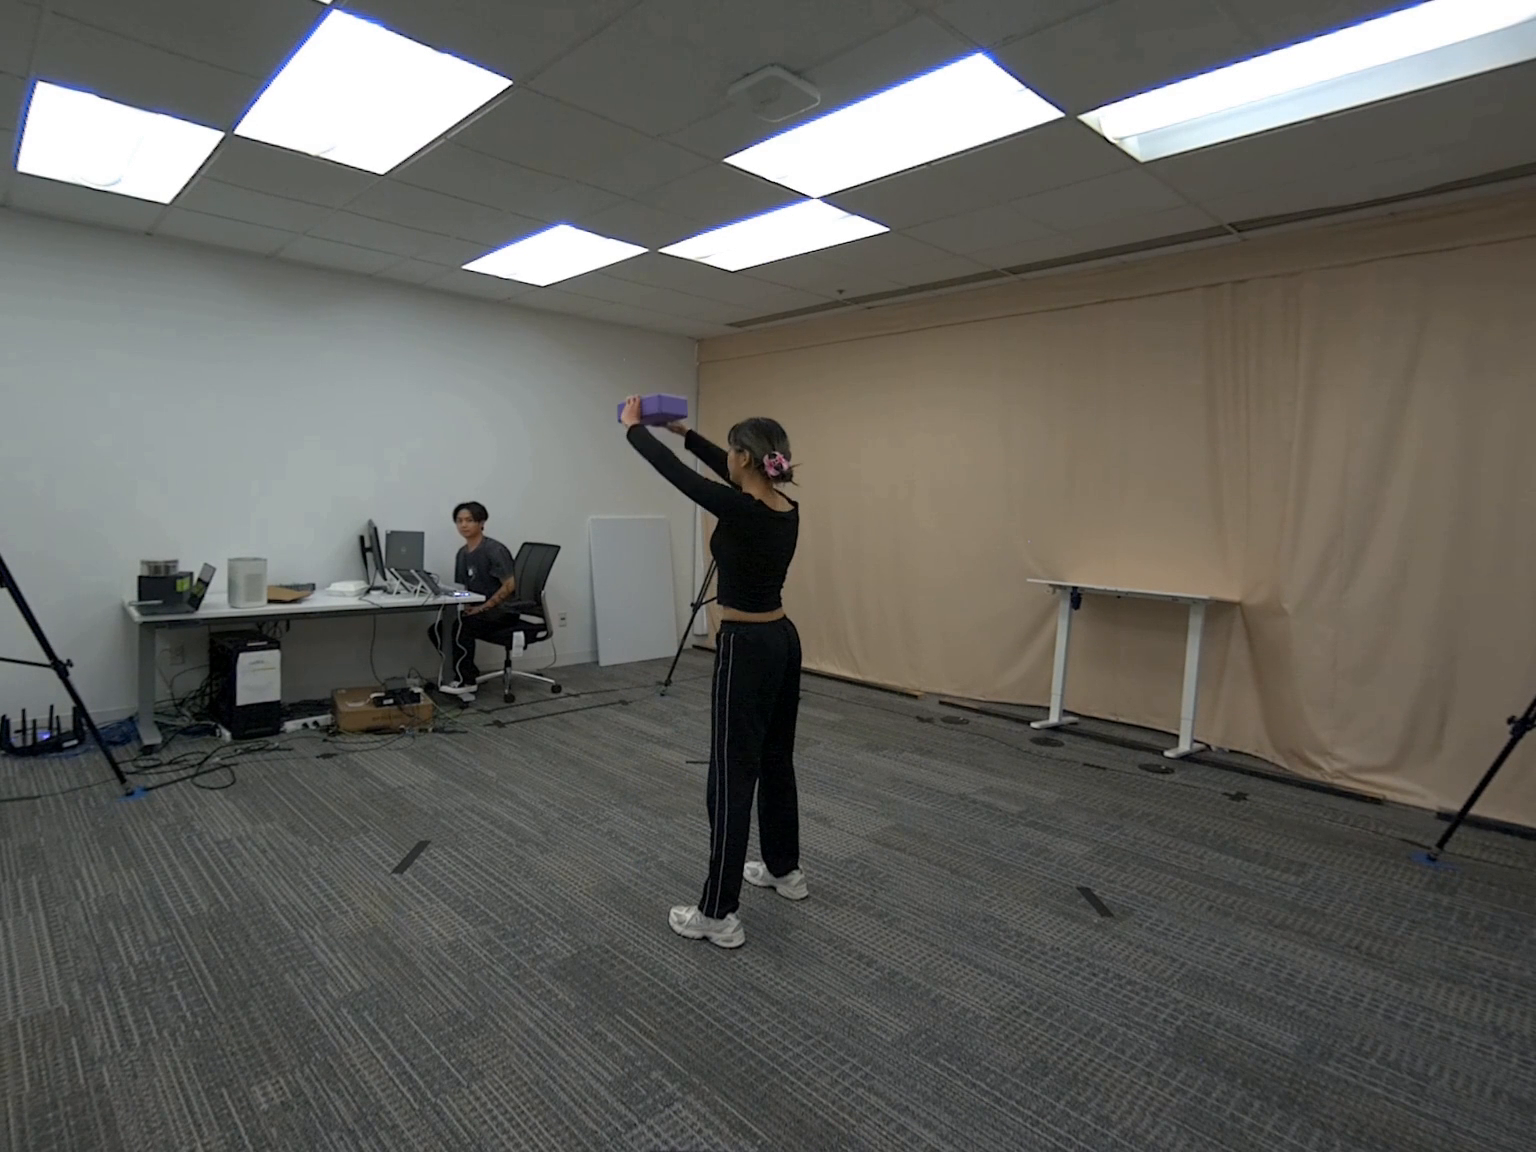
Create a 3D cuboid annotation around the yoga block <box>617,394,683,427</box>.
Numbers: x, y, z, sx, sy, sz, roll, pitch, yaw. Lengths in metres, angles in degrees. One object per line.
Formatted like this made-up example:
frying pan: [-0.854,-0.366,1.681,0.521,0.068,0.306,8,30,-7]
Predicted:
yoga block: [-0.435,-0.564,3.050,0.150,0.077,0.226,3,-9,6]
